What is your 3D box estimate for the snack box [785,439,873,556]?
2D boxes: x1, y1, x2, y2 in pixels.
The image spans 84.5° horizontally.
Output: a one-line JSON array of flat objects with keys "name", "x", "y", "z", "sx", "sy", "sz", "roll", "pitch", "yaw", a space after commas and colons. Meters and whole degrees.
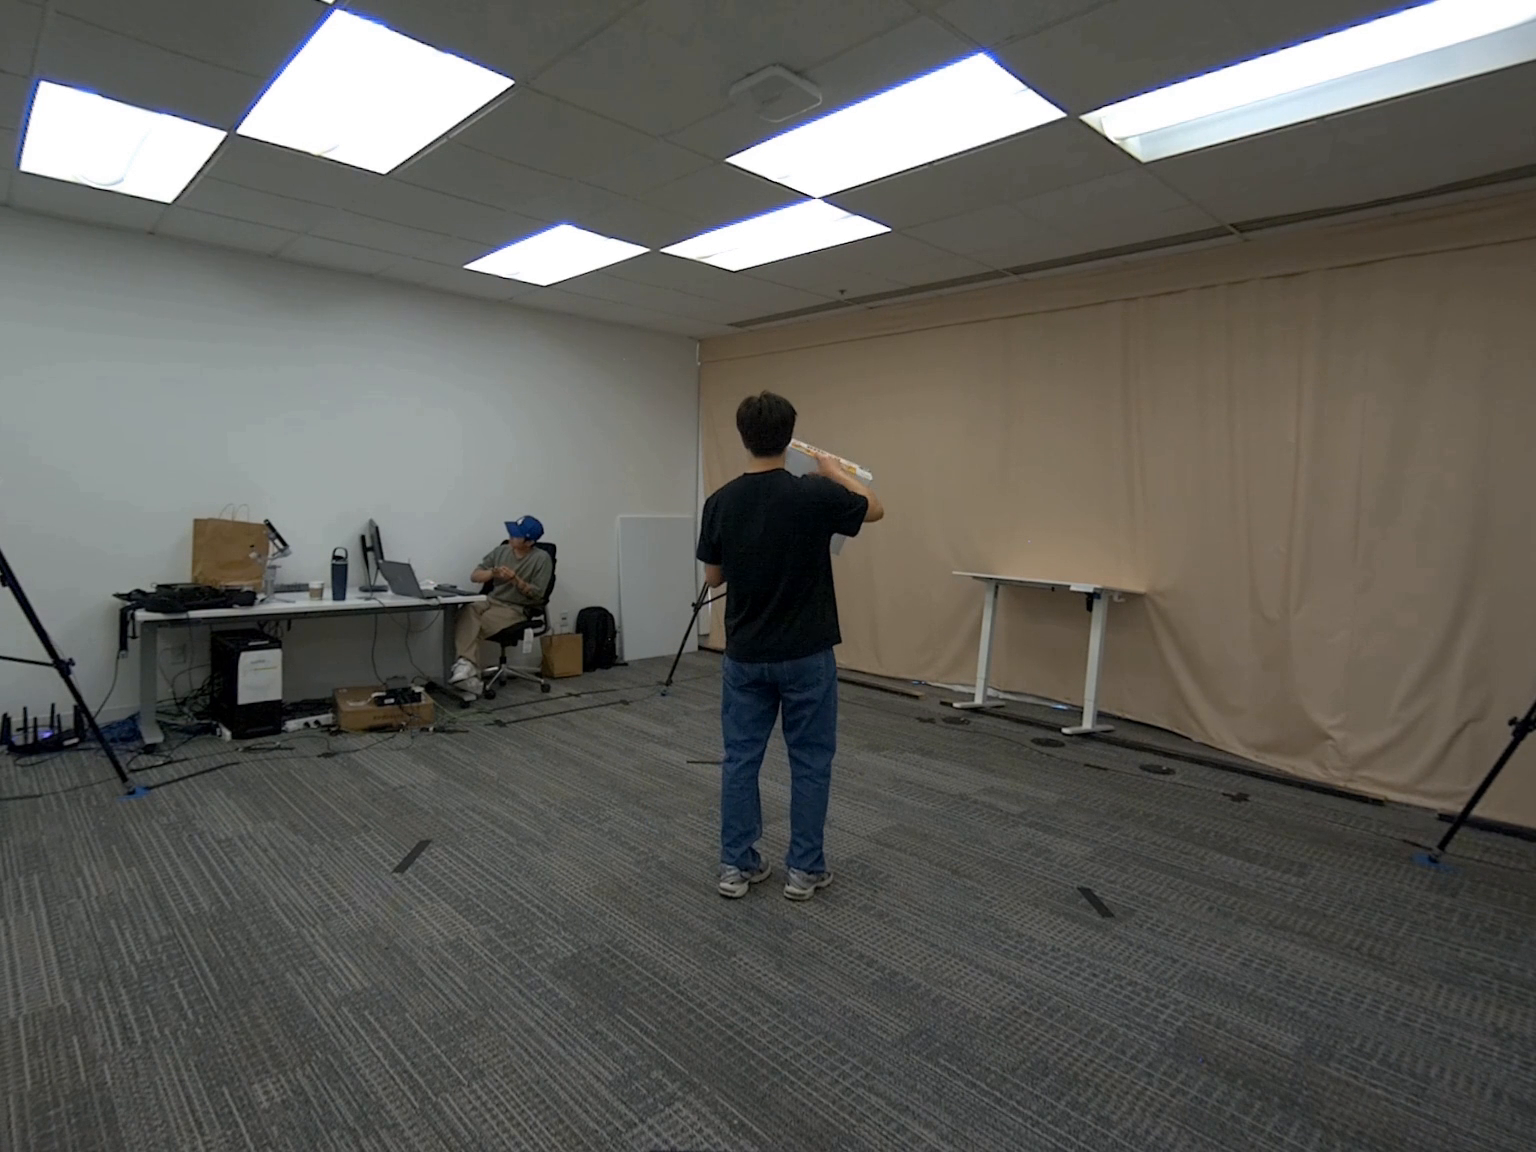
[{"name": "snack box", "x": 0.166, "y": -0.326, "z": 3.394, "sx": 0.405, "sy": 0.338, "sz": 0.207, "roll": 23, "pitch": 17, "yaw": -1}]
